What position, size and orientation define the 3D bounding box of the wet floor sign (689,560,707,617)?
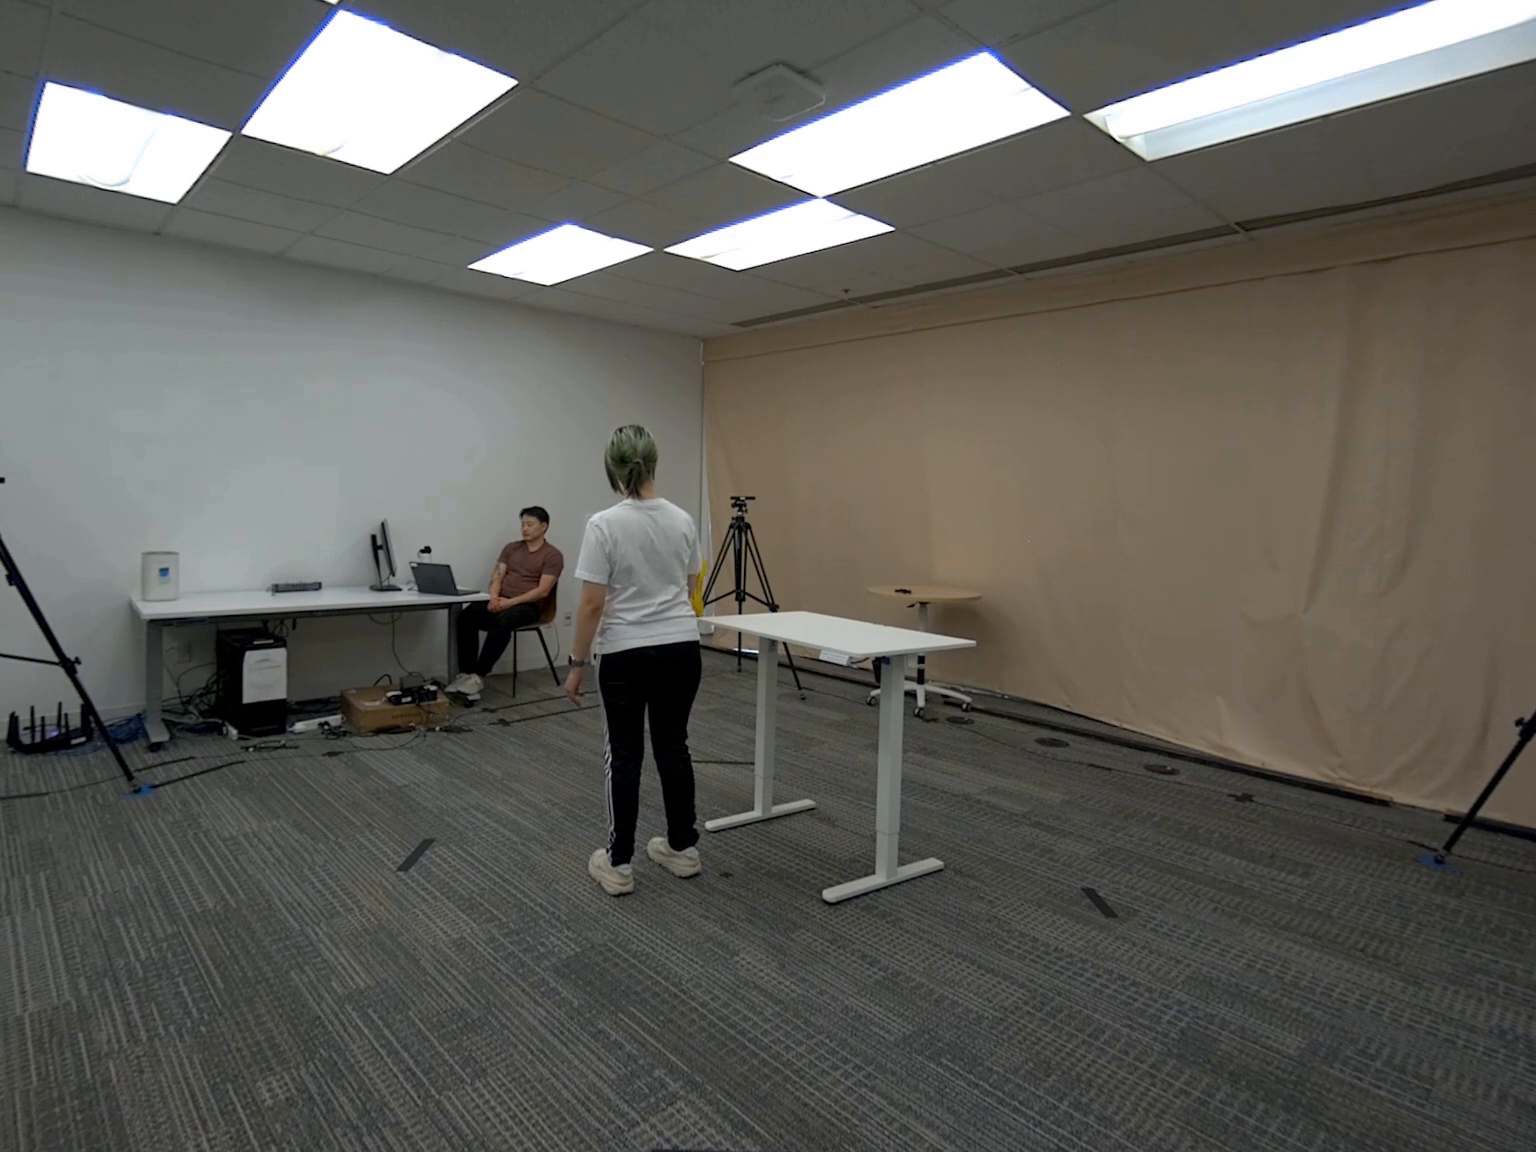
[{"bbox_3d":[-0.411,0.020,3.794,0.289,0.284,0.643,7,-8,-3],"label":"wet floor sign"}]
